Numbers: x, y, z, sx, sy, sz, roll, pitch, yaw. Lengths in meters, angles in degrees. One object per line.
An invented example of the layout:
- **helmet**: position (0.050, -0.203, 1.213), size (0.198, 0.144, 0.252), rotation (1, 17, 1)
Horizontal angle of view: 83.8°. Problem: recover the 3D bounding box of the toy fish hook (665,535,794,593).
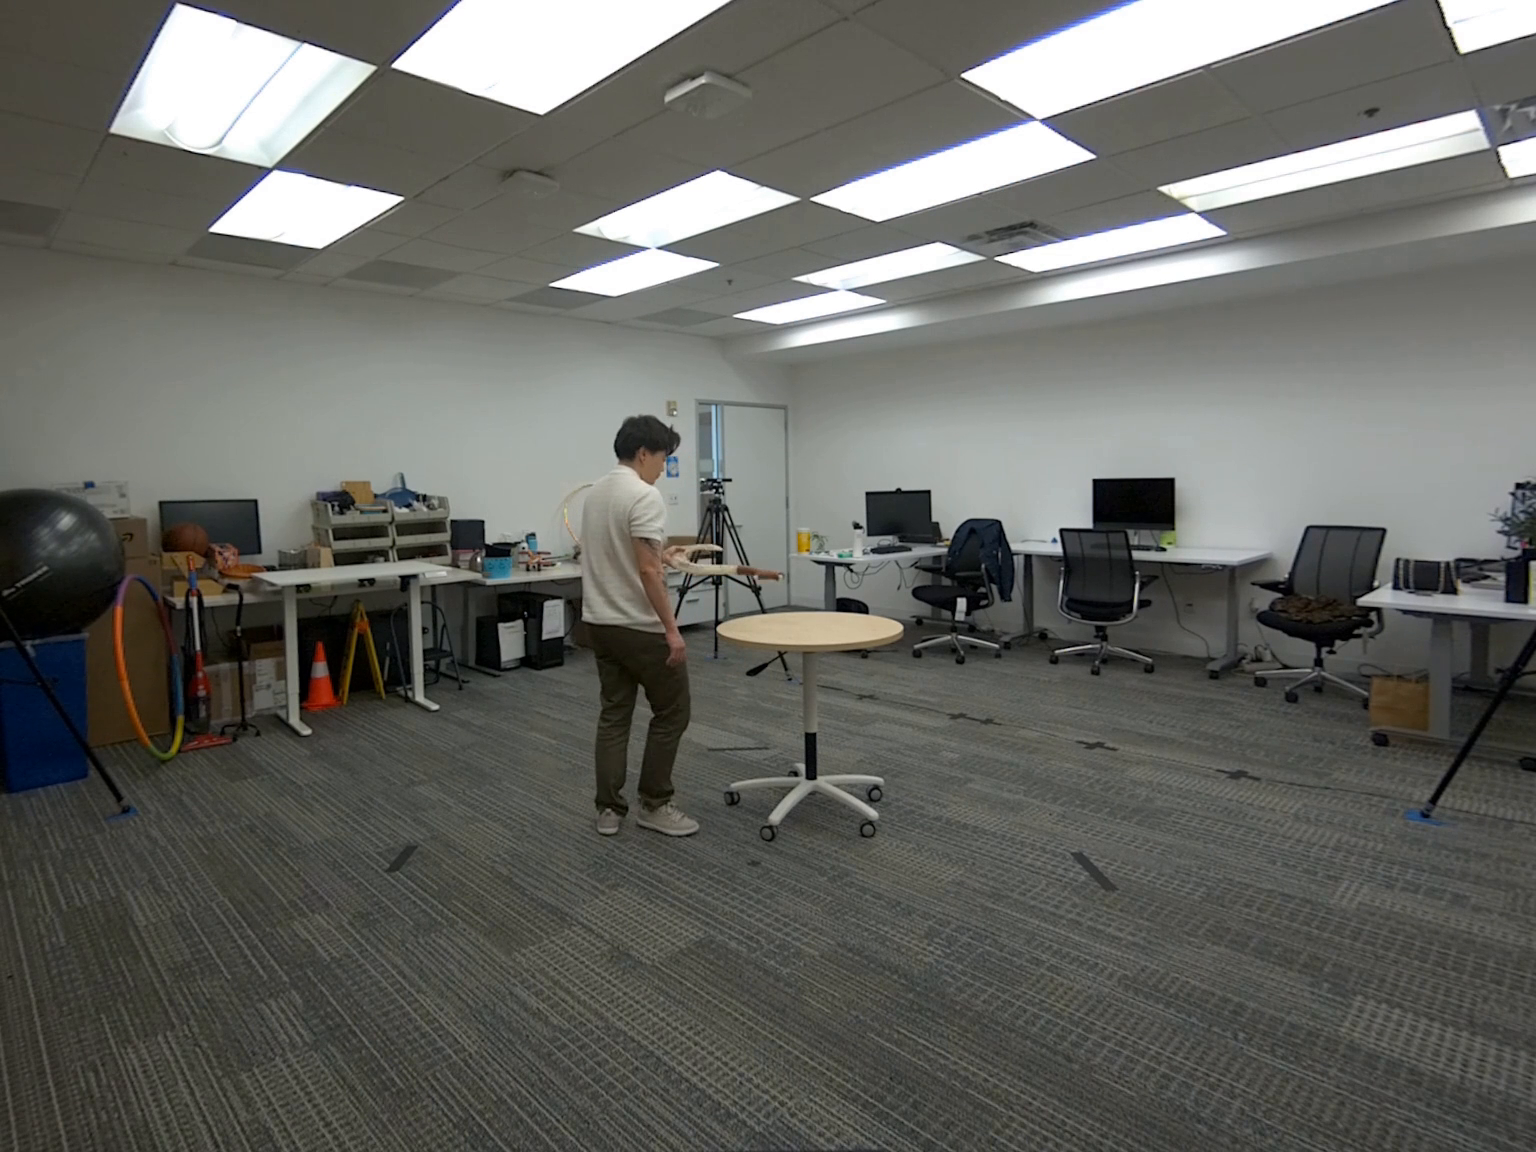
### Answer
- **toy fish hook**: position (-0.165, -0.057, 3.626), size (0.513, 0.047, 0.227), rotation (8, 38, 12)
